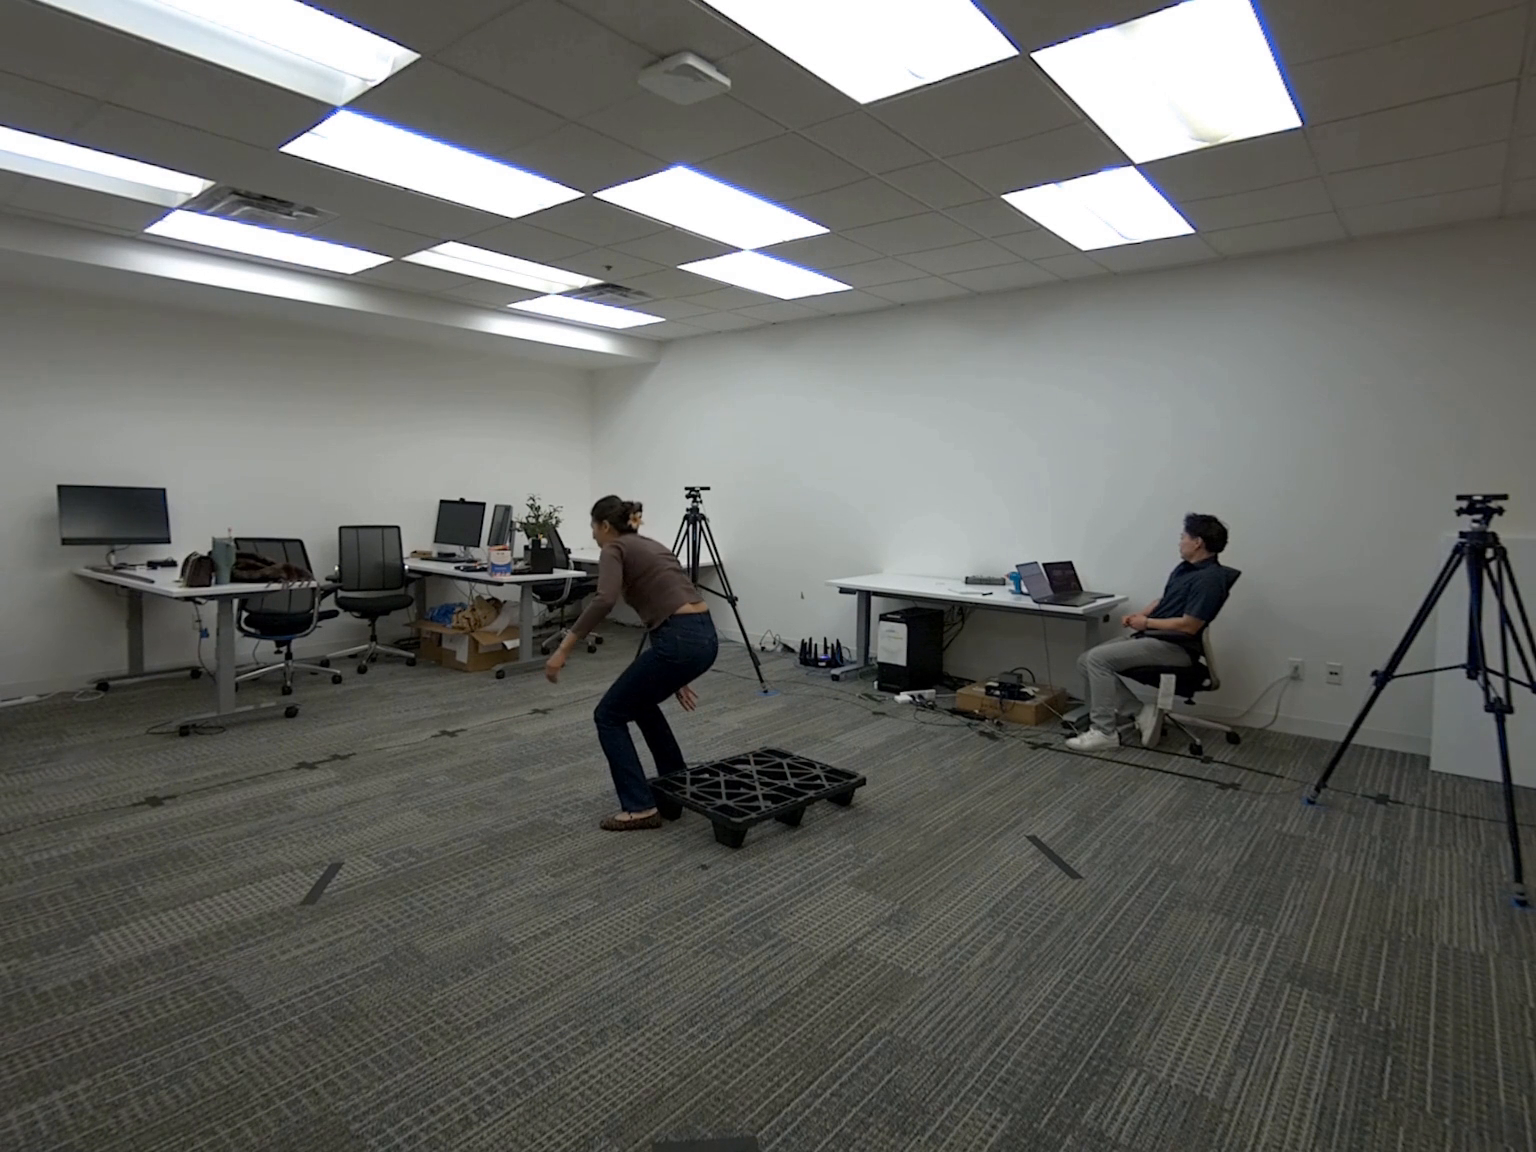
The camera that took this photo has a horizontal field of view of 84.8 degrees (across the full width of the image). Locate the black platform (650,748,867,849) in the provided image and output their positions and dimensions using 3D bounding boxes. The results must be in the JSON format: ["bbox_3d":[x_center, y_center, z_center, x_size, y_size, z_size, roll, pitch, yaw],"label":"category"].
[{"bbox_3d":[-0.053,0.943,3.687,0.781,0.142,0.626,-5,9,-44],"label":"black platform"}]
